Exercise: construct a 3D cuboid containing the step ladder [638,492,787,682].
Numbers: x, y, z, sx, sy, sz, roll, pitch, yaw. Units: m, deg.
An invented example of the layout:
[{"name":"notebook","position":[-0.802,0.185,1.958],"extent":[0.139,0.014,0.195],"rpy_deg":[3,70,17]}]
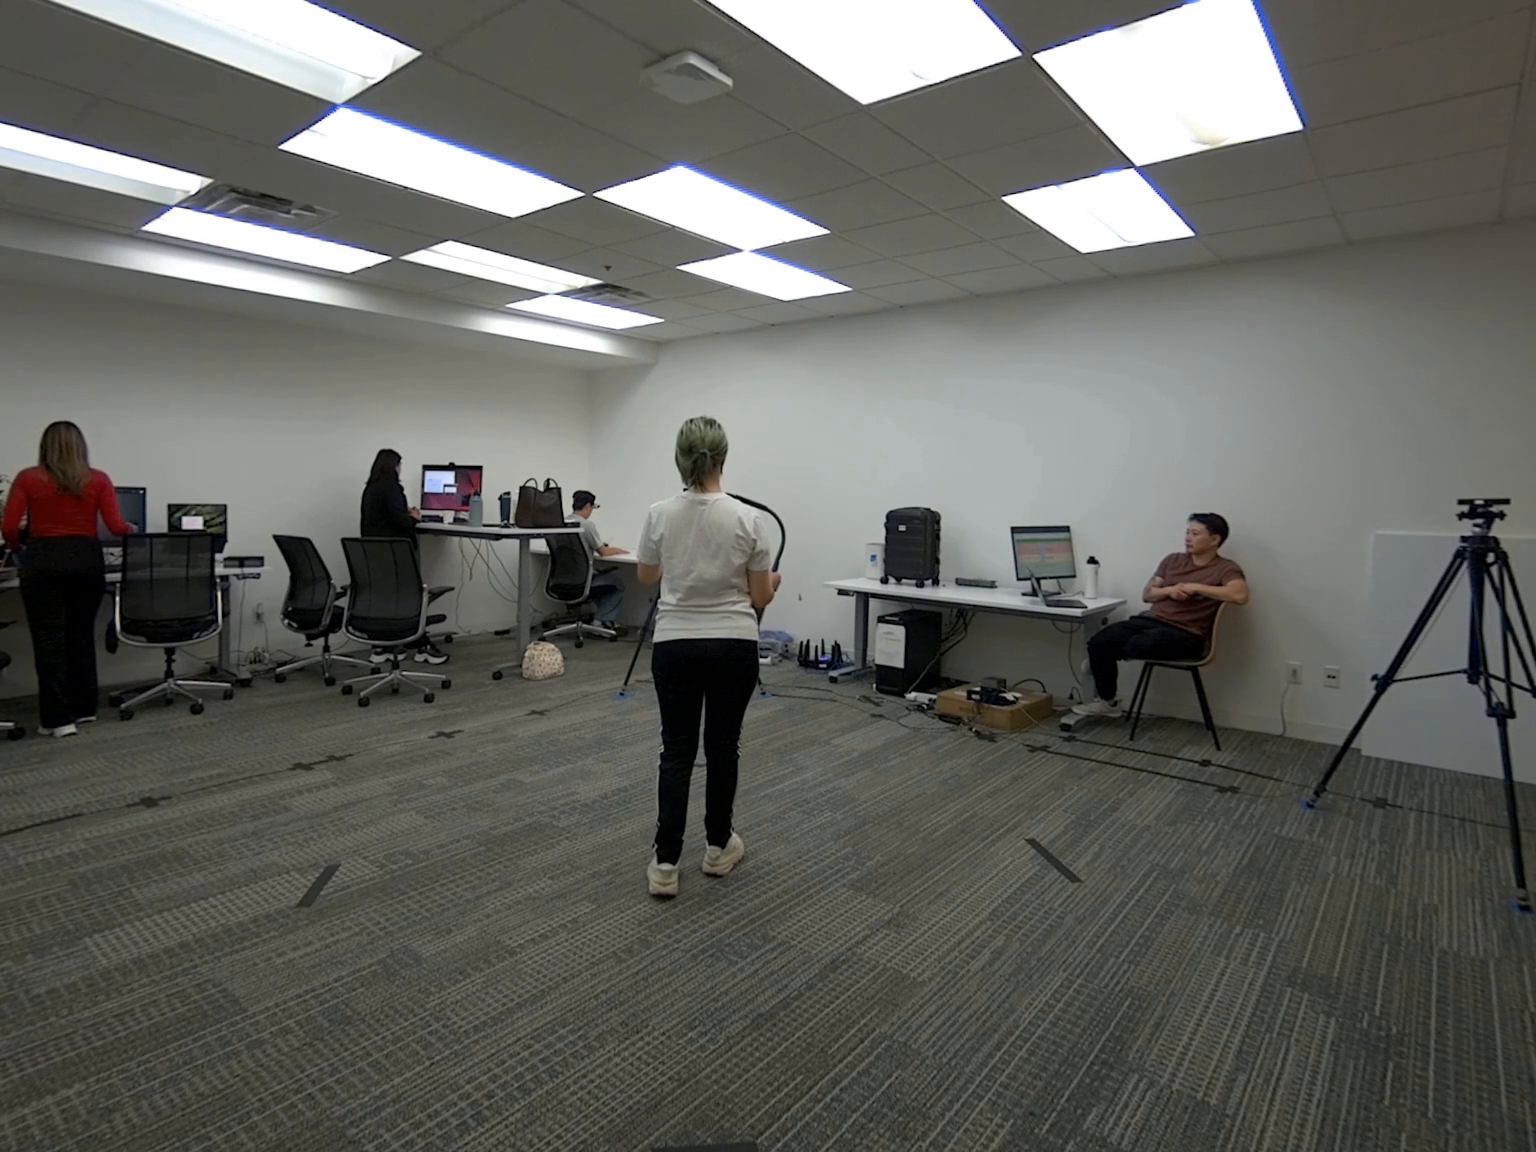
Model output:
[{"name":"step ladder","position":[-0.194,-0.015,3.375],"extent":[0.435,0.601,0.348],"rpy_deg":[21,15,7]}]
